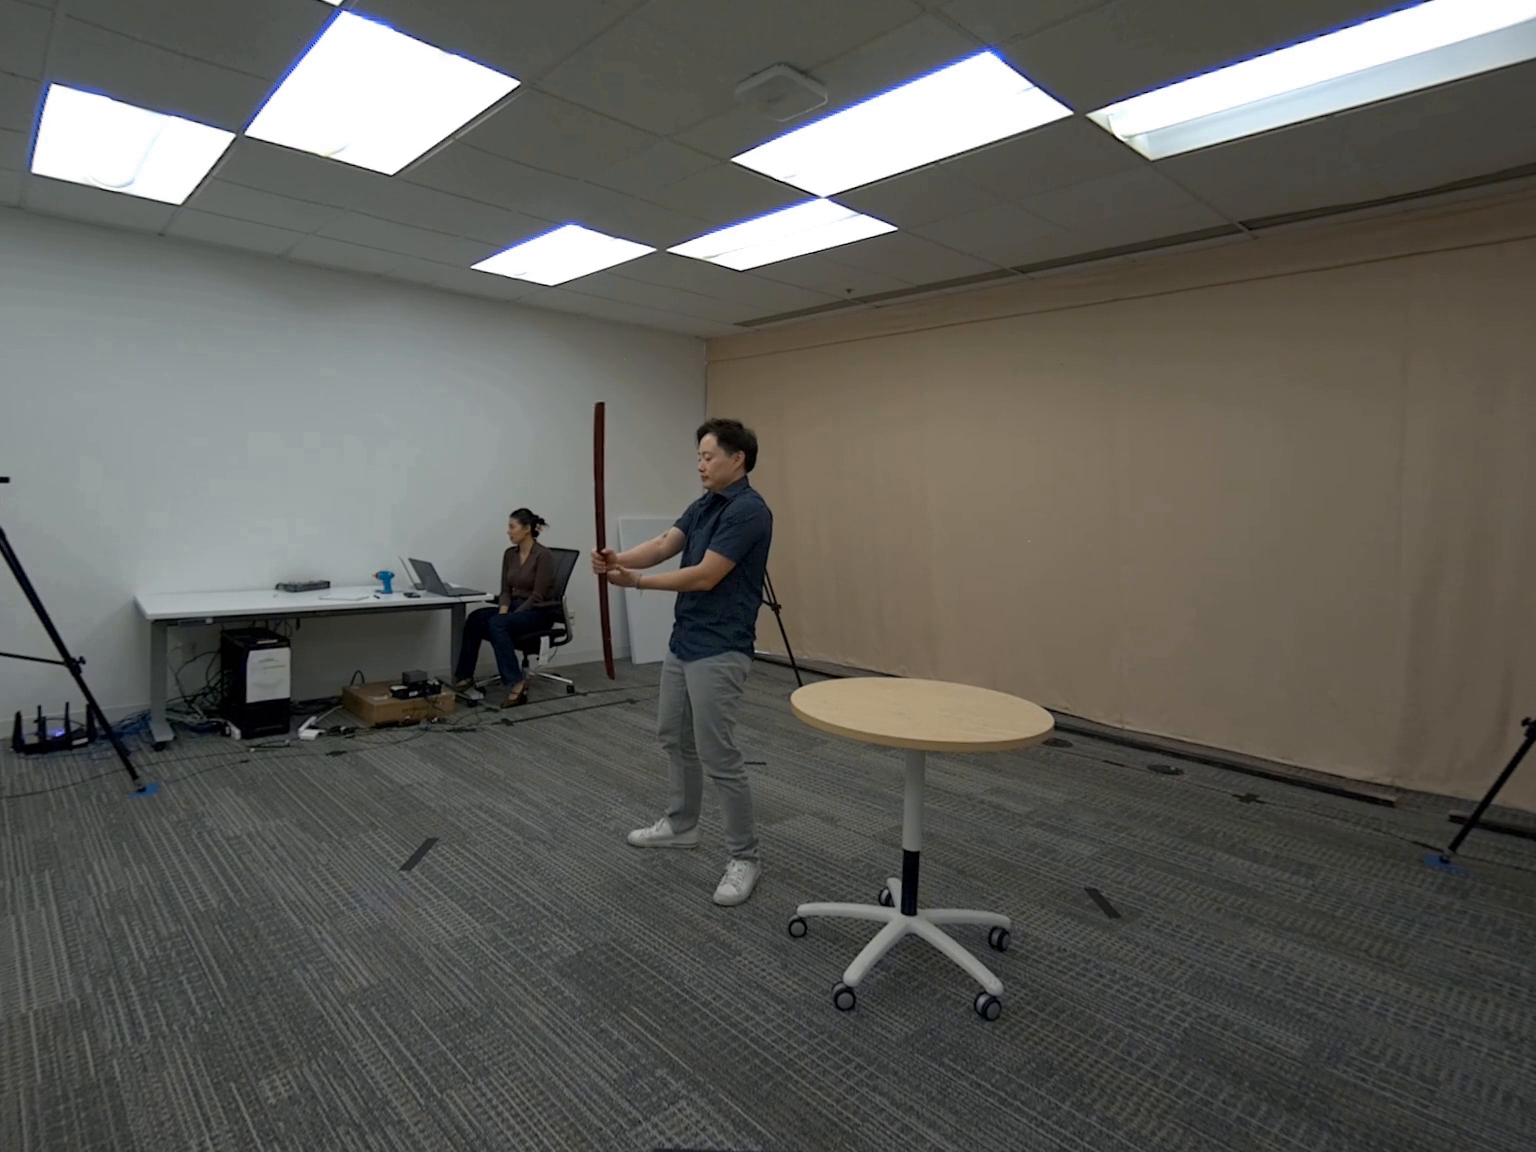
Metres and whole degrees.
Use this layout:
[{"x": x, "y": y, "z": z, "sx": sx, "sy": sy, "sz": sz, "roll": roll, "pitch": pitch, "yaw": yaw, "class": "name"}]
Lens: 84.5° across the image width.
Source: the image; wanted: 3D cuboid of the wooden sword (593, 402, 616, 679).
[{"x": -0.577, "y": -0.097, "z": 2.895, "sx": 0.051, "sy": 1.010, "sz": 0.024, "roll": -3, "pitch": 21, "yaw": -9, "class": "wooden sword"}]
